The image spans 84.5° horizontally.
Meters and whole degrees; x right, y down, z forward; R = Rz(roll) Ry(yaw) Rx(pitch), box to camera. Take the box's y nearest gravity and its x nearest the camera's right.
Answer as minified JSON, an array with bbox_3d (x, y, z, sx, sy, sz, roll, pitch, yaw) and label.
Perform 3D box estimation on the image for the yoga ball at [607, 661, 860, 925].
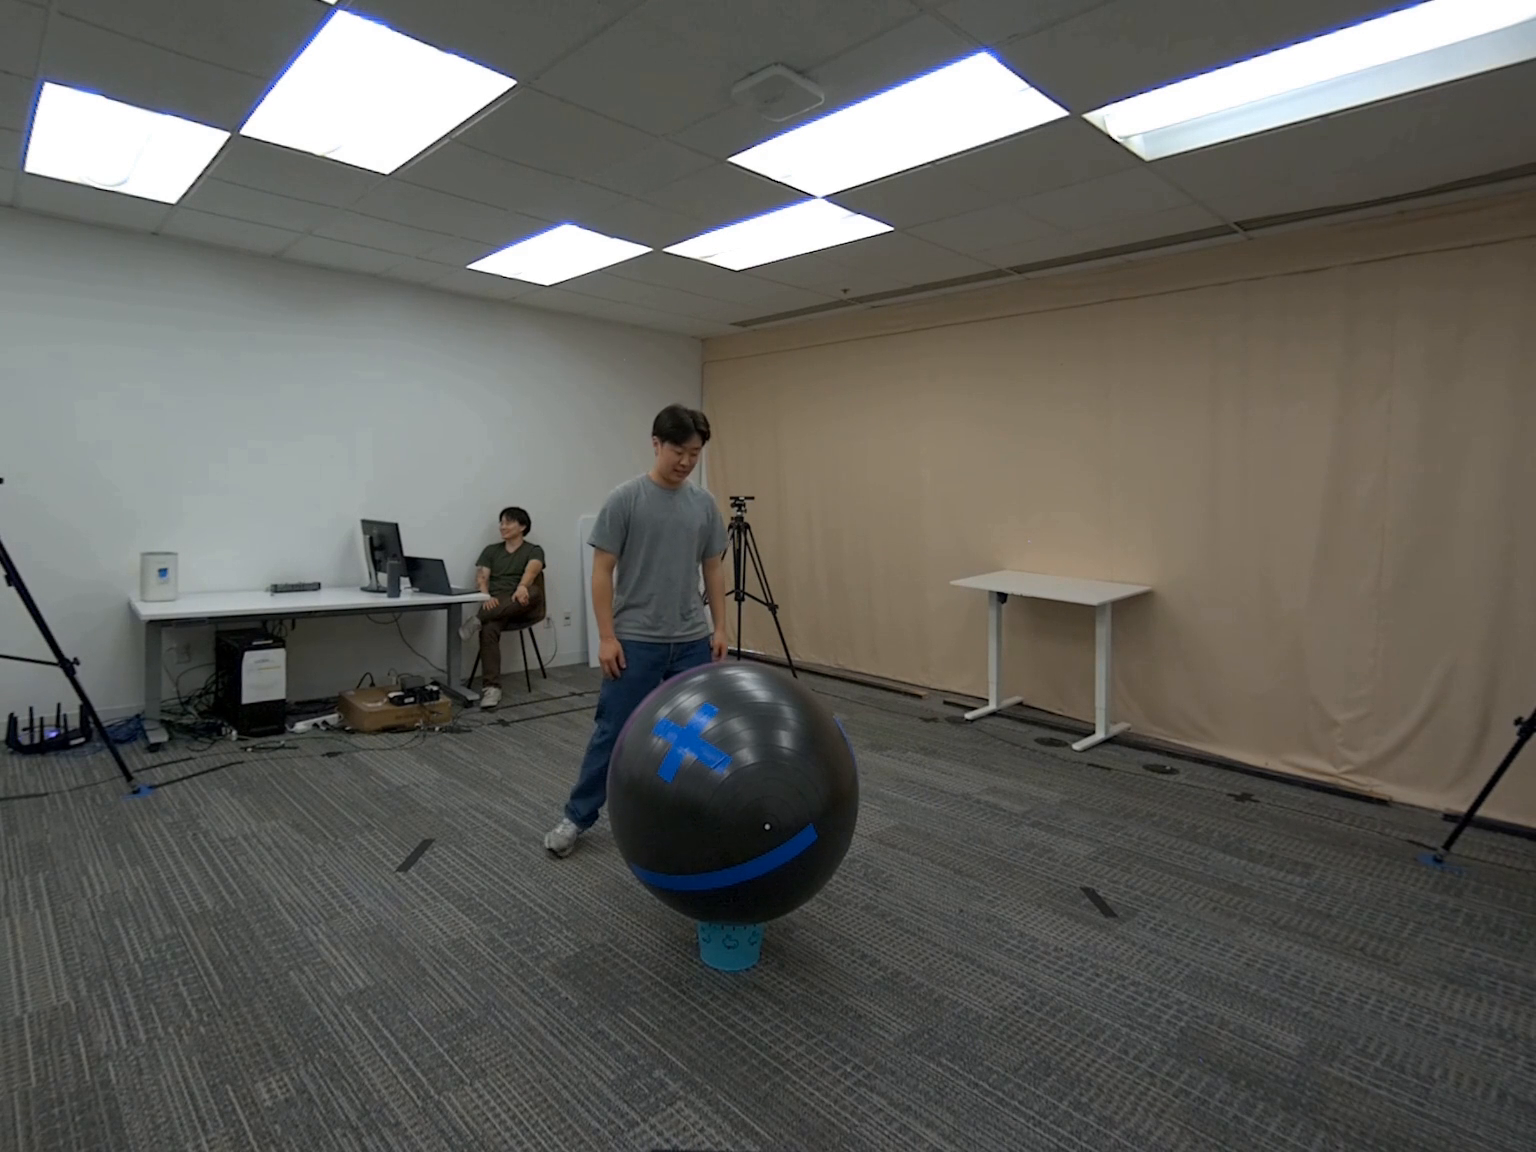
[{"bbox_3d":[-0.109,0.648,2.532,0.757,0.756,0.761,1,4,-1],"label":"yoga ball"}]
